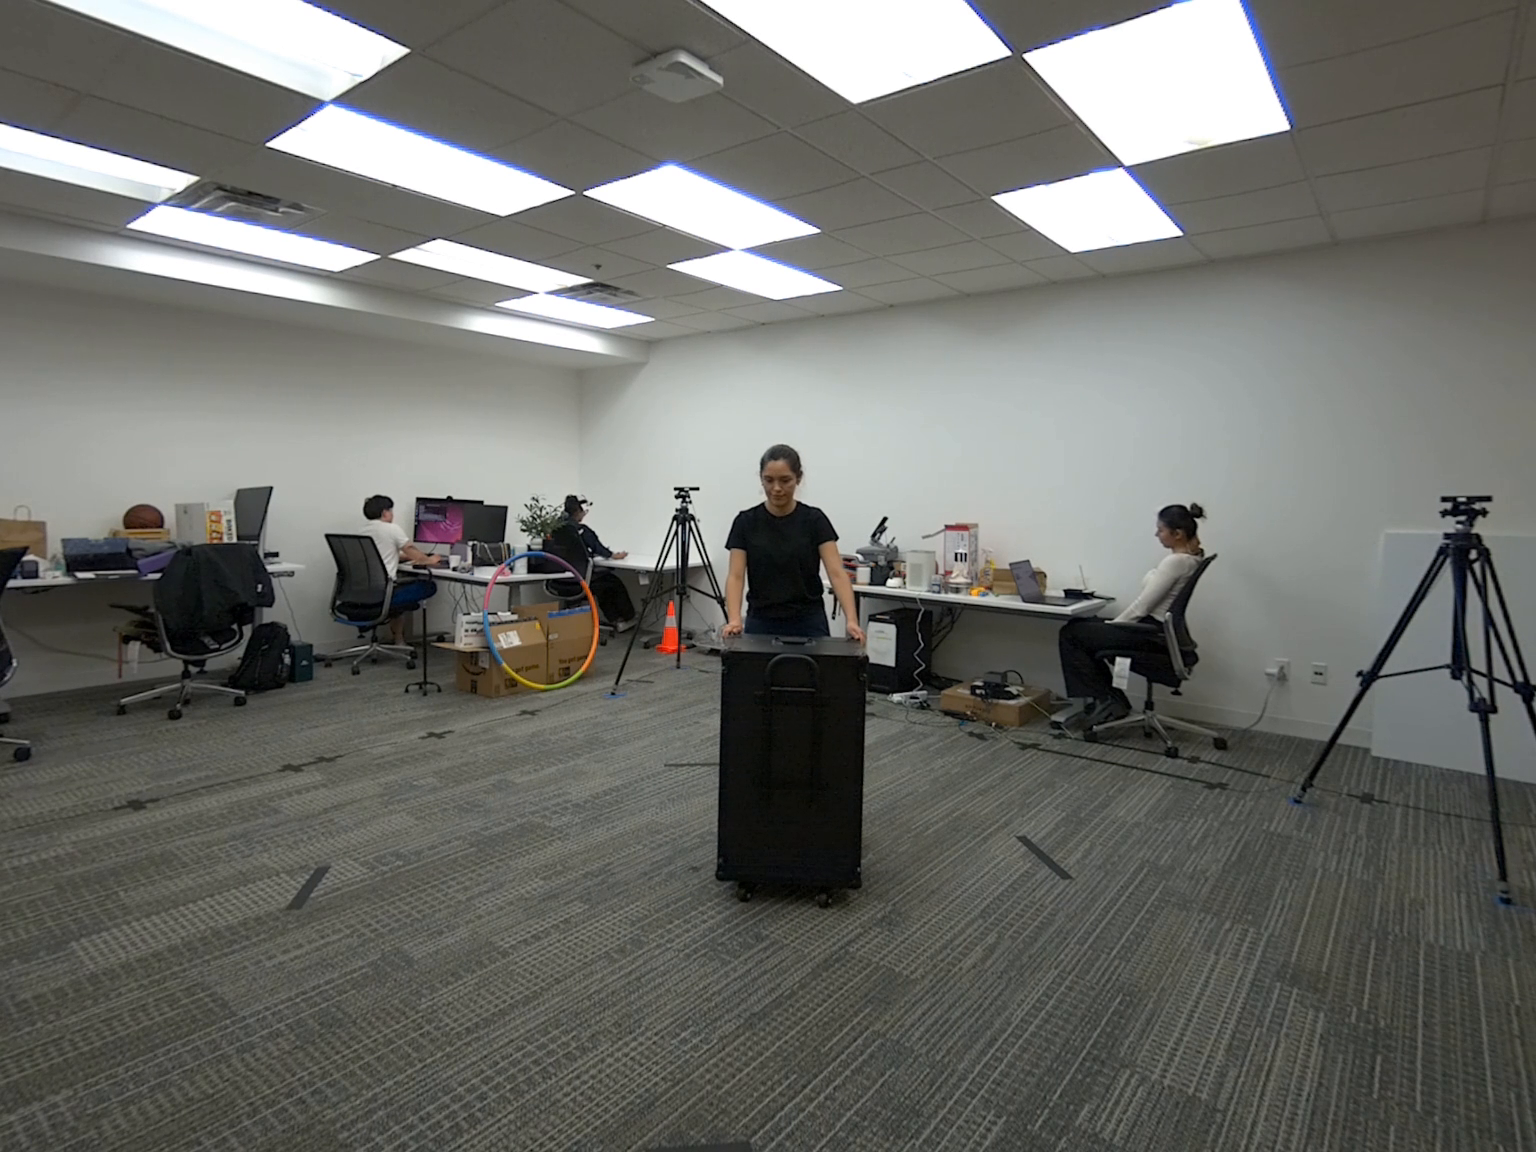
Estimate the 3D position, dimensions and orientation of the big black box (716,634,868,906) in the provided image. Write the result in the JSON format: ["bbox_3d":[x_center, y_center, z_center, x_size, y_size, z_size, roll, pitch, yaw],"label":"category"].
[{"bbox_3d":[0.095,0.654,2.989,0.524,0.859,0.395,2,3,5],"label":"big black box"}]
